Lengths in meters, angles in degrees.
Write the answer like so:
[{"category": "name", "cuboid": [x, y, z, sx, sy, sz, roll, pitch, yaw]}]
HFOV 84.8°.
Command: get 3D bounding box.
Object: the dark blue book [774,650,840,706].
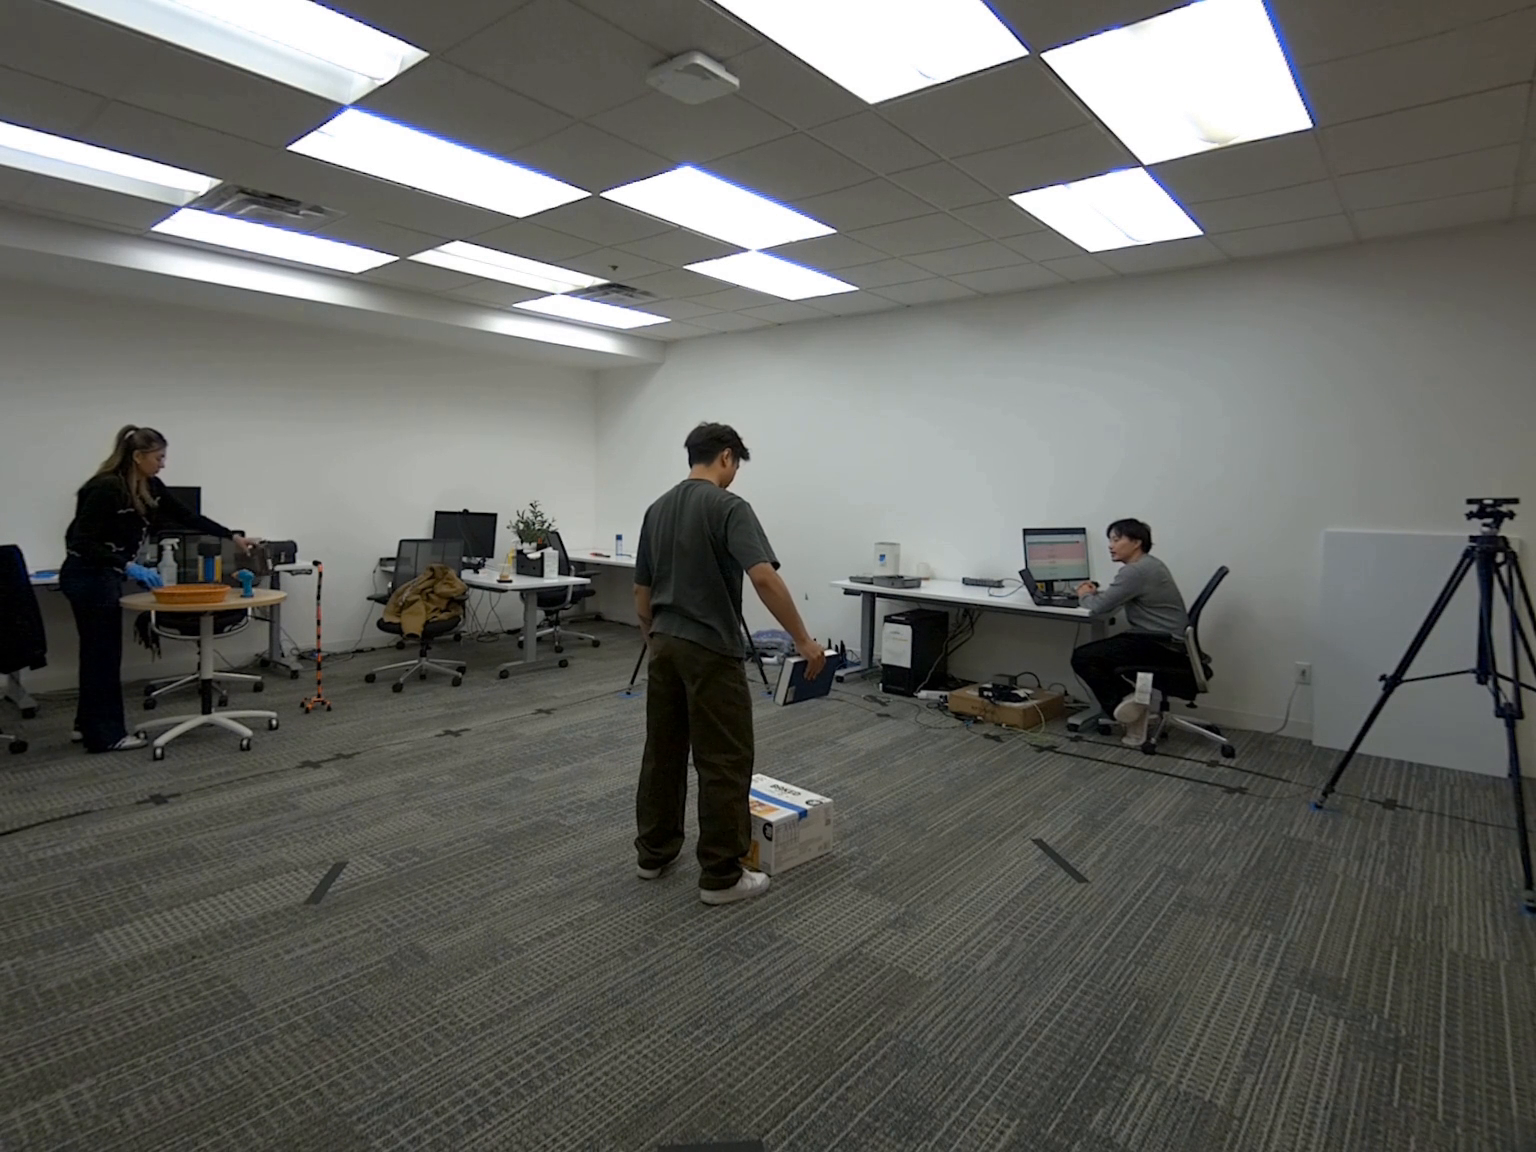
[{"category": "dark blue book", "cuboid": [0.118, 0.332, 2.814, 0.047, 0.162, 0.238, 24, 19, 38]}]
